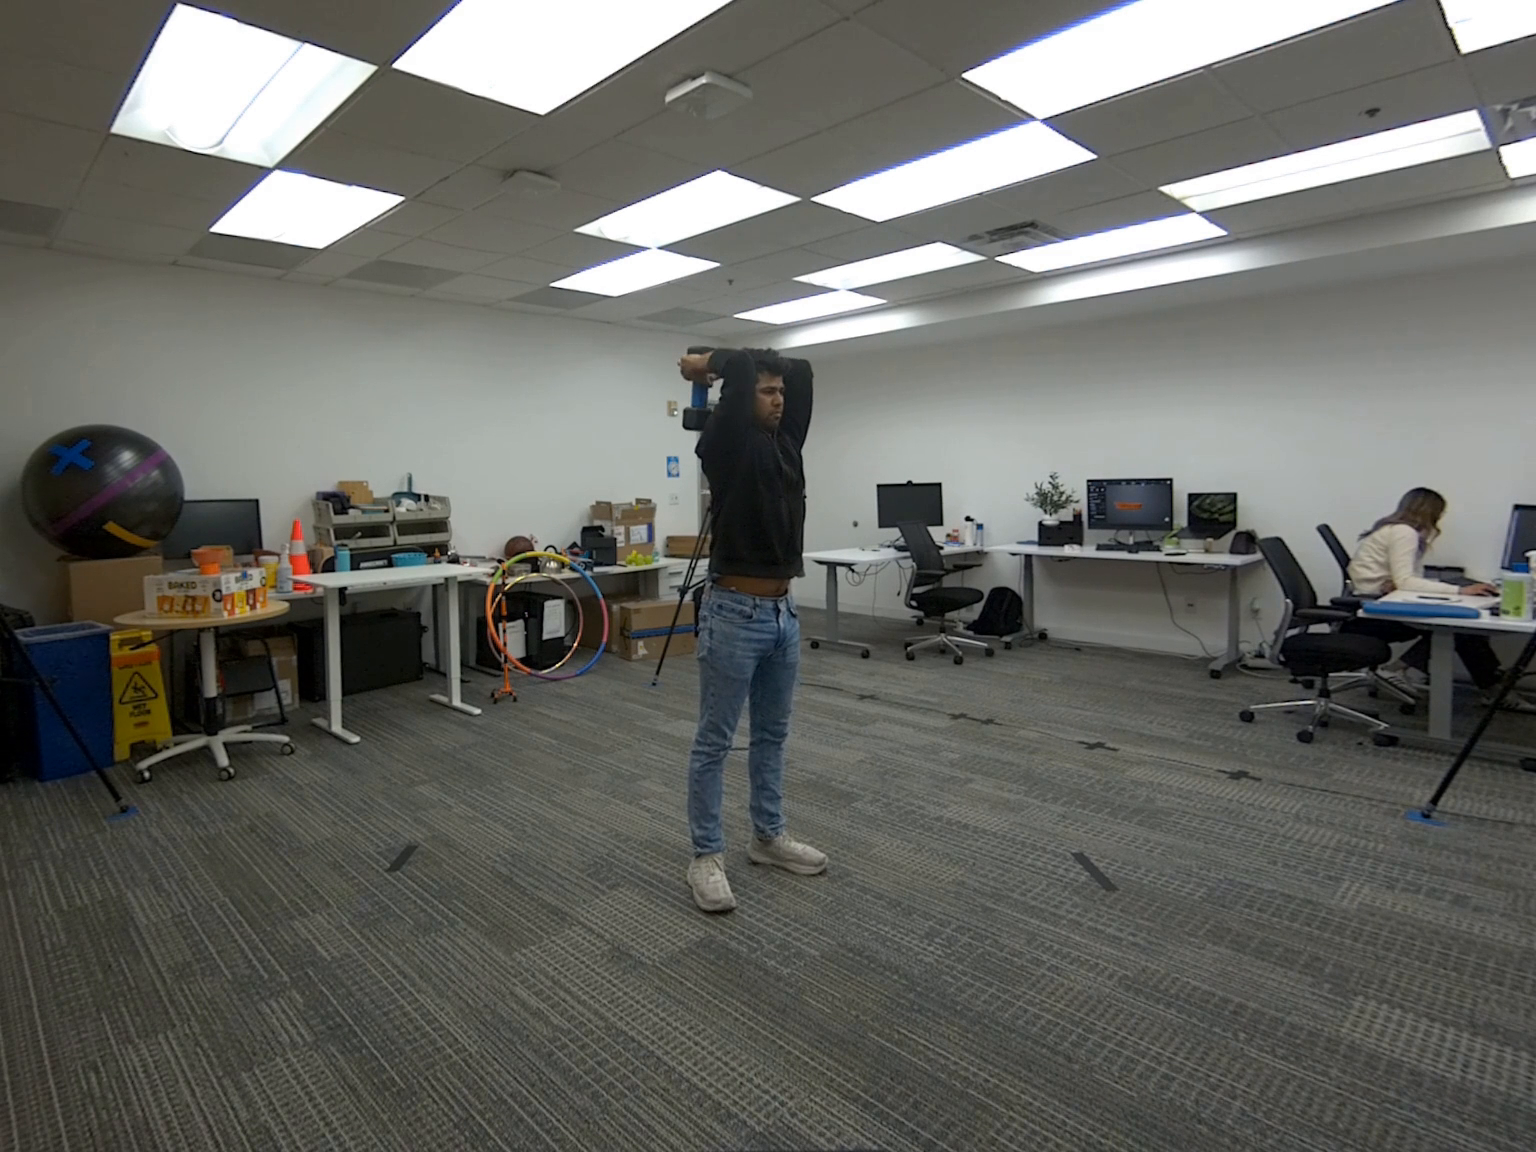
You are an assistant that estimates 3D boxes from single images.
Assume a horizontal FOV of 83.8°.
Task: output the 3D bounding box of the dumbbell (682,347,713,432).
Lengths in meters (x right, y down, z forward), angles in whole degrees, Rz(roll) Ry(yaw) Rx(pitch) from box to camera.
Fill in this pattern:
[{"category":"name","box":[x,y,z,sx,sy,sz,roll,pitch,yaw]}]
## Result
[{"category":"dumbbell","box":[-0.228,-0.668,3.023,0.120,0.293,0.112,4,2,-30]}]
